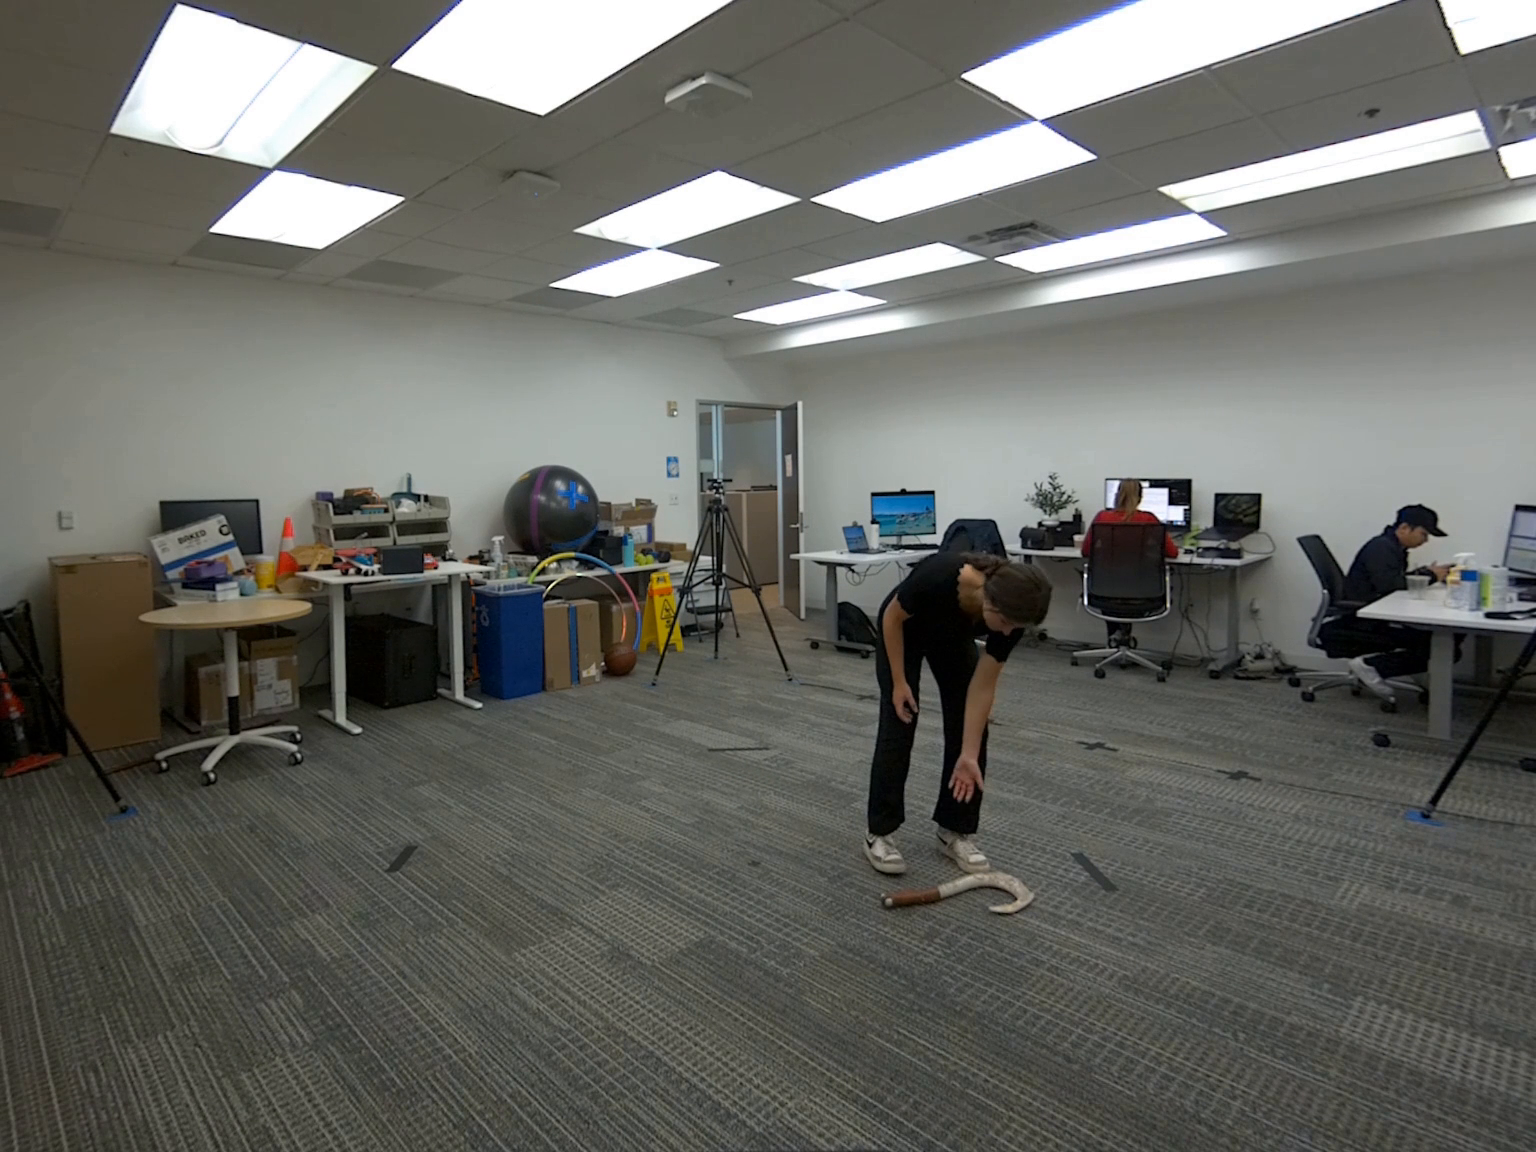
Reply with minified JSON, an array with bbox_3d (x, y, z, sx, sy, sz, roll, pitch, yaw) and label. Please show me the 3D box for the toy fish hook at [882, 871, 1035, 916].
[{"bbox_3d":[0.626,1.052,2.783,0.499,0.048,0.229,-3,5,-16],"label":"toy fish hook"}]
